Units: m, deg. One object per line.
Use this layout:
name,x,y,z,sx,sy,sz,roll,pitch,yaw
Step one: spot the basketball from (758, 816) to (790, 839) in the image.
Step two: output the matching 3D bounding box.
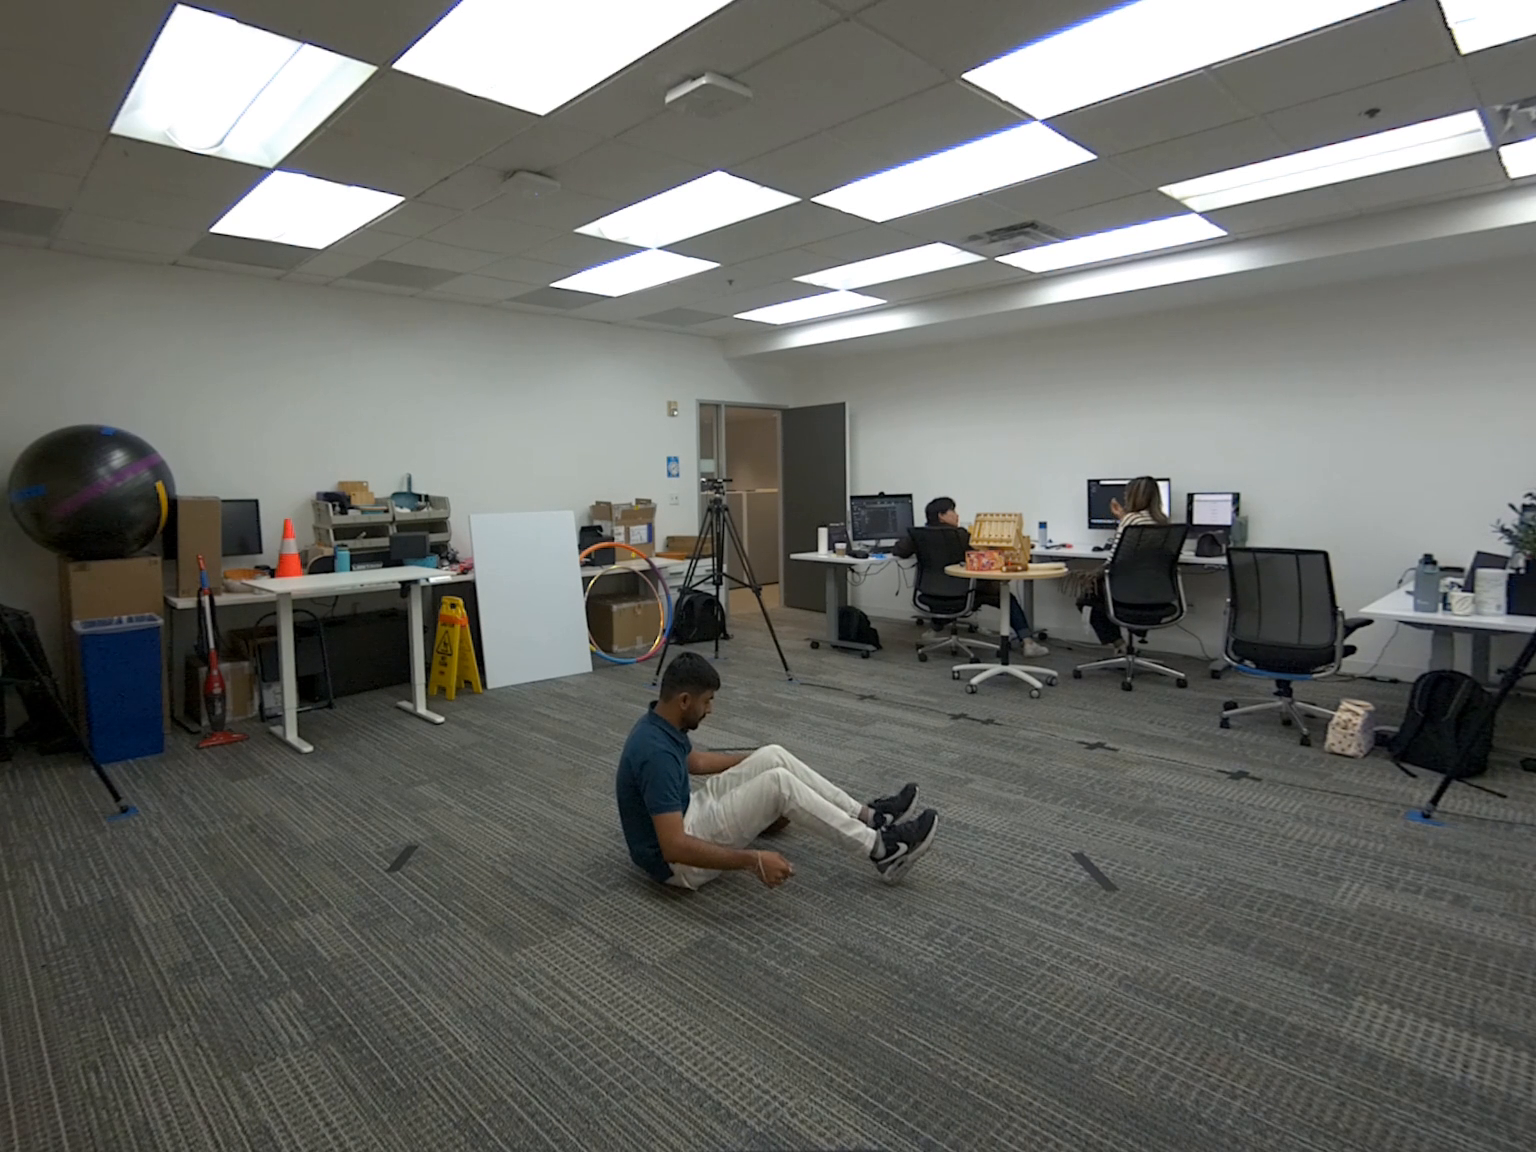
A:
basketball,0.001,0.883,3.381,0.236,0.235,0.237,-1,5,-2
